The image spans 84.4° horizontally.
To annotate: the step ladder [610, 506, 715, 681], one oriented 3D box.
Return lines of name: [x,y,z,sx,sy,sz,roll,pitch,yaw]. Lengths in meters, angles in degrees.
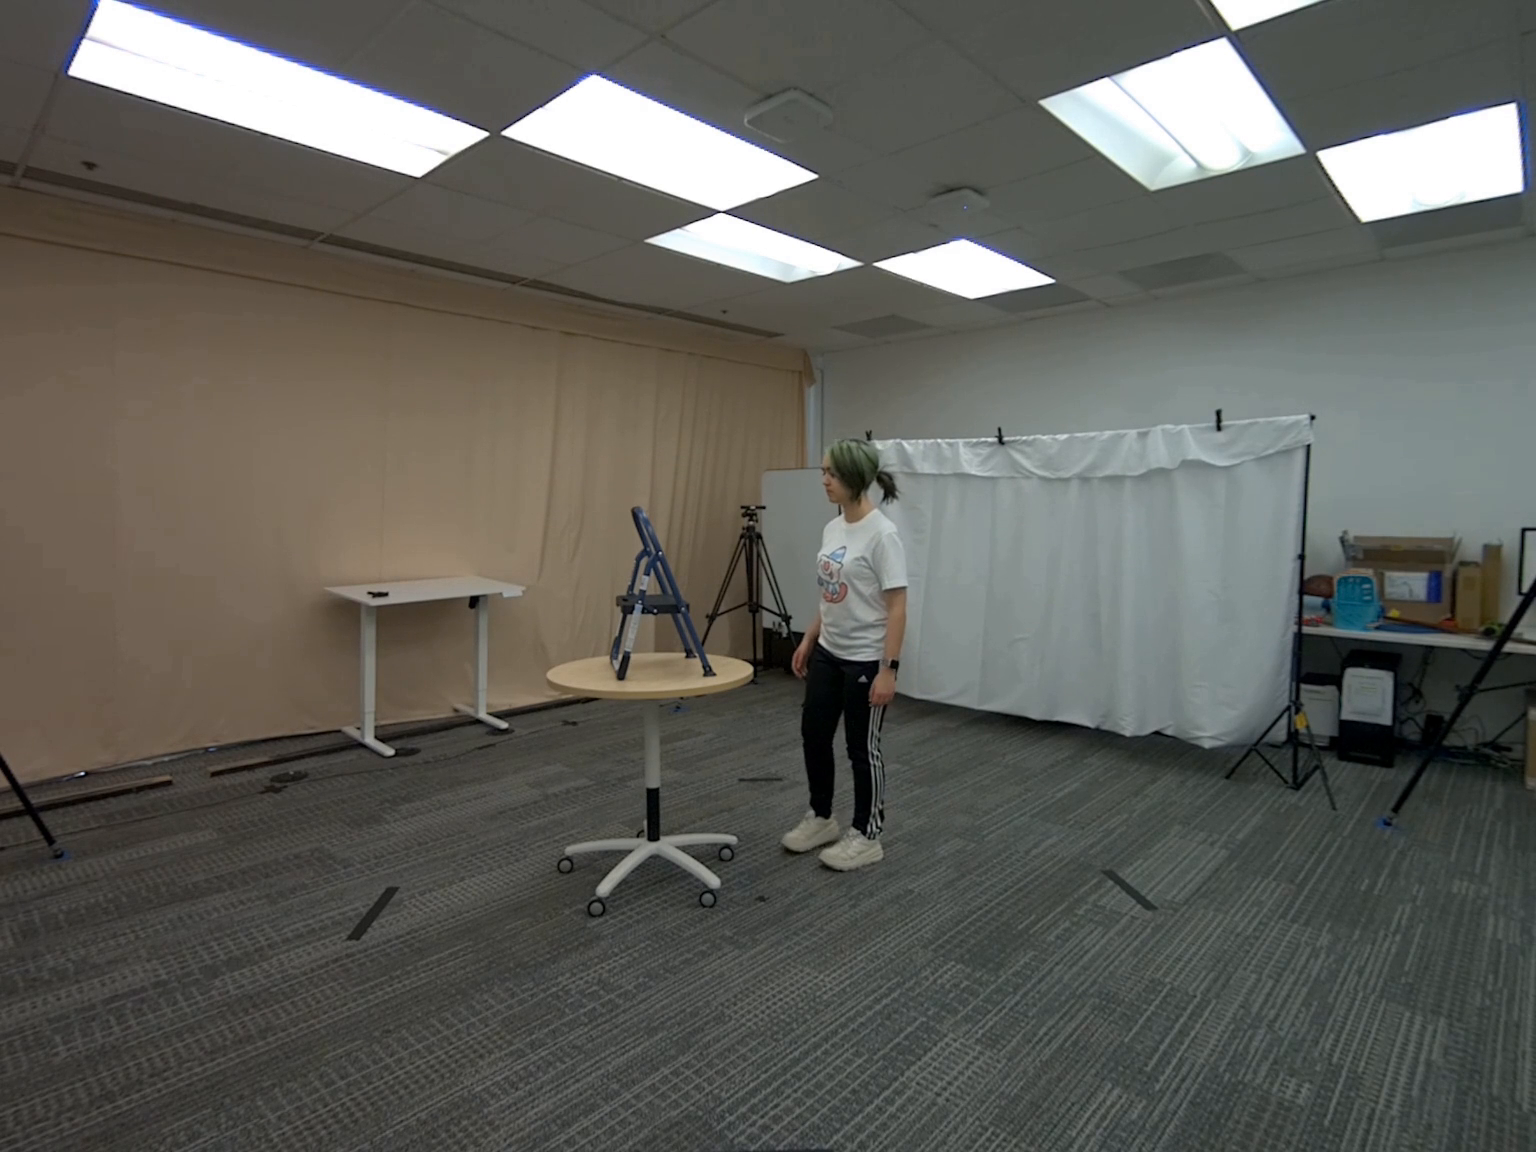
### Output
step ladder: [-0.414,0.048,3.156,0.344,0.605,0.437,-1,3,-14]
